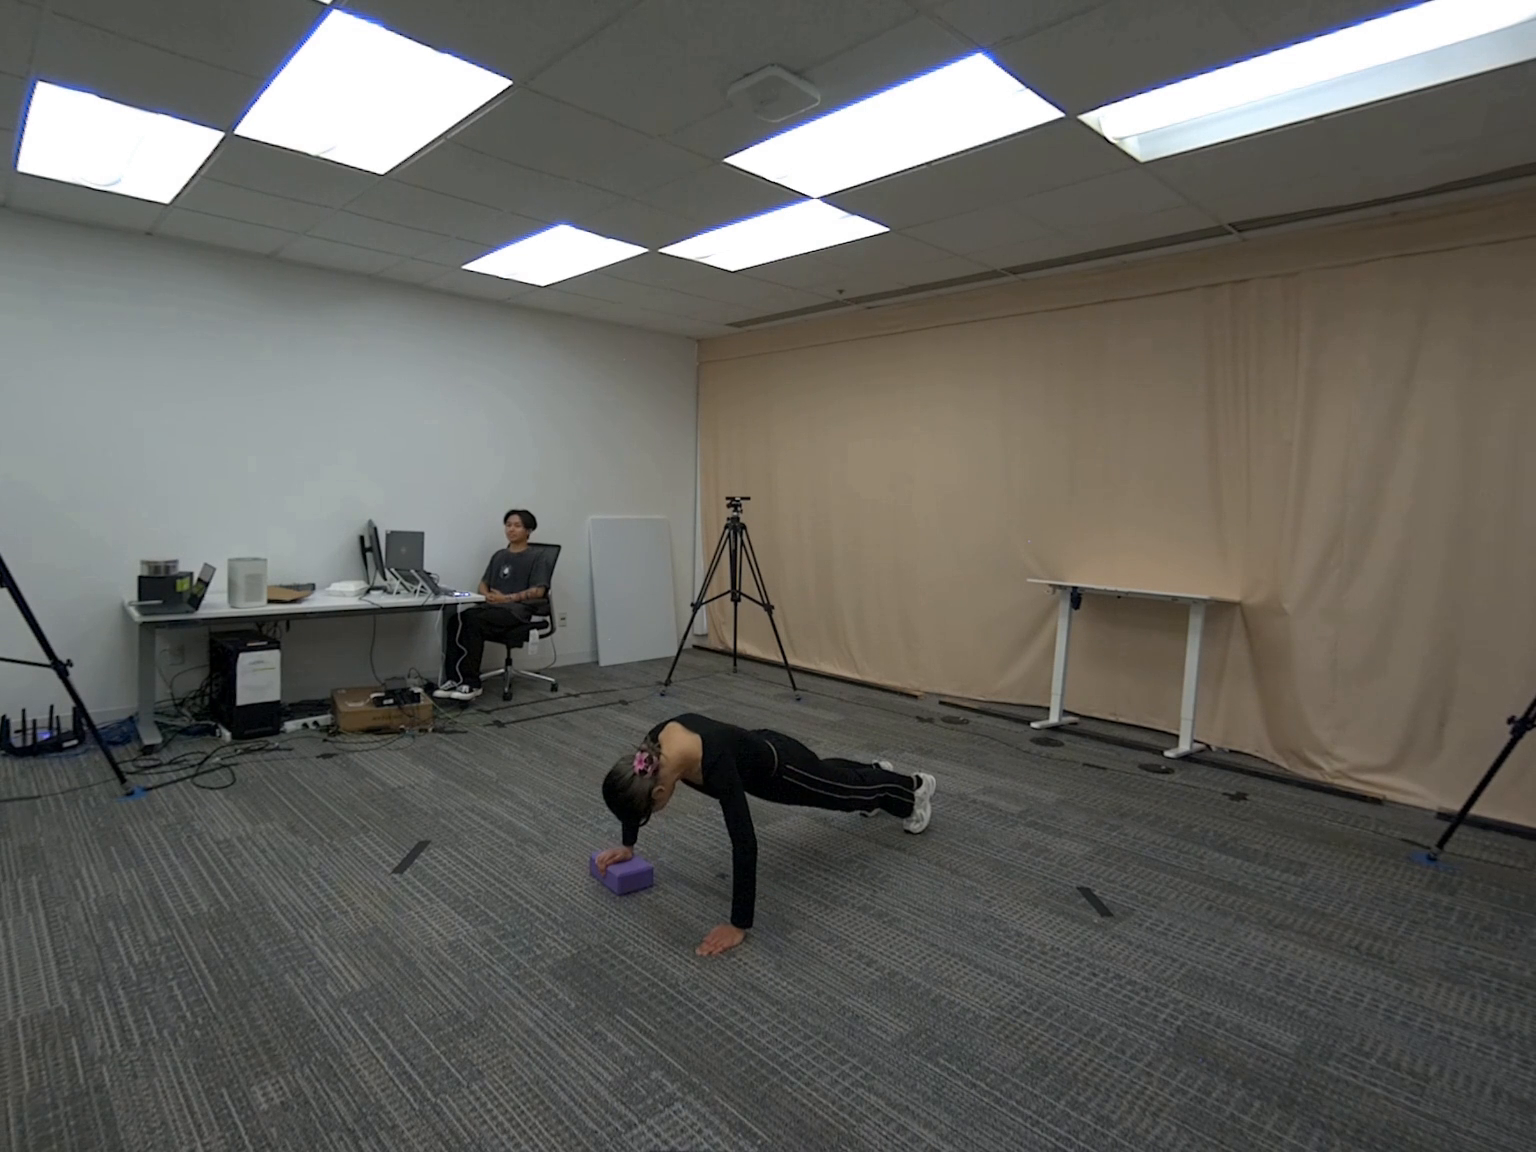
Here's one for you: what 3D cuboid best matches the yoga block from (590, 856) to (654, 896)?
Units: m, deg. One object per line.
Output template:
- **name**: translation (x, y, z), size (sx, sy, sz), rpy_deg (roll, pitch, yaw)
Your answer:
- **yoga block**: translation (-0.538, 1.067, 3.050), size (0.146, 0.076, 0.235), rpy_deg (-2, 5, -37)
